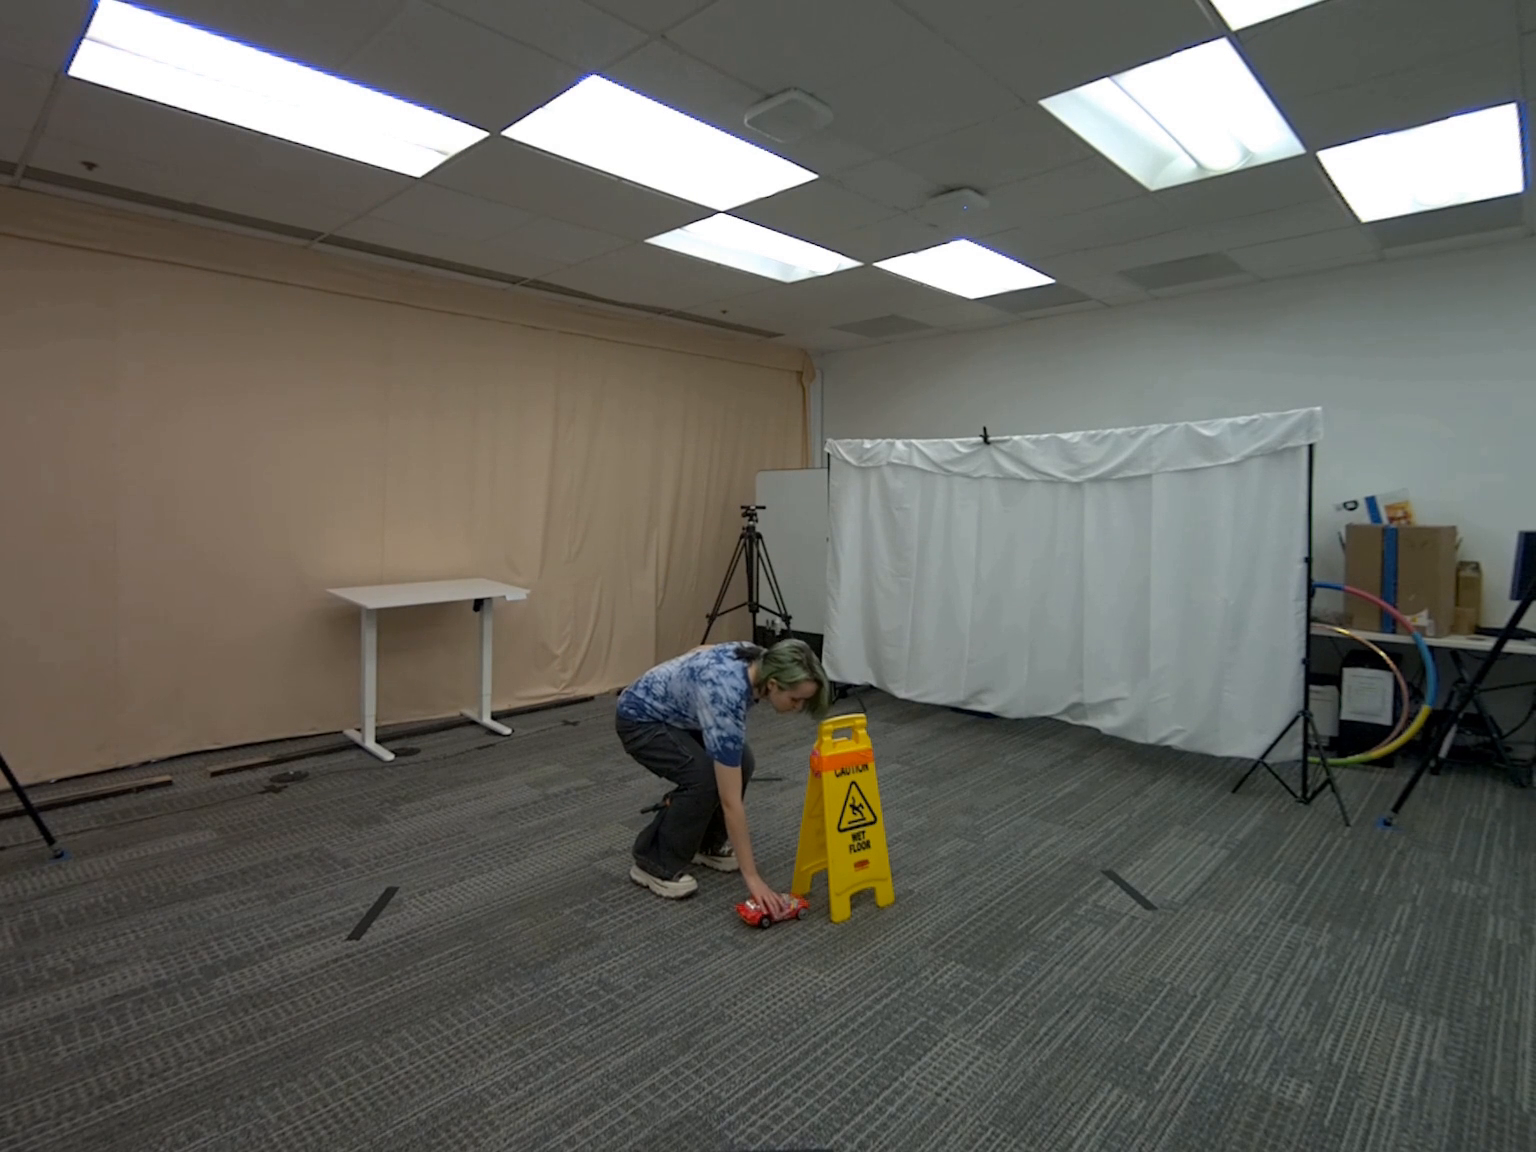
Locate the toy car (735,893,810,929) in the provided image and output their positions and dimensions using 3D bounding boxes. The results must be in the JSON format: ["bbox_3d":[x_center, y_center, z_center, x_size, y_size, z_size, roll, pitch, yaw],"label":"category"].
[{"bbox_3d":[0.007,1.127,2.839,0.248,0.083,0.134,12,-1,-25],"label":"toy car"}]
